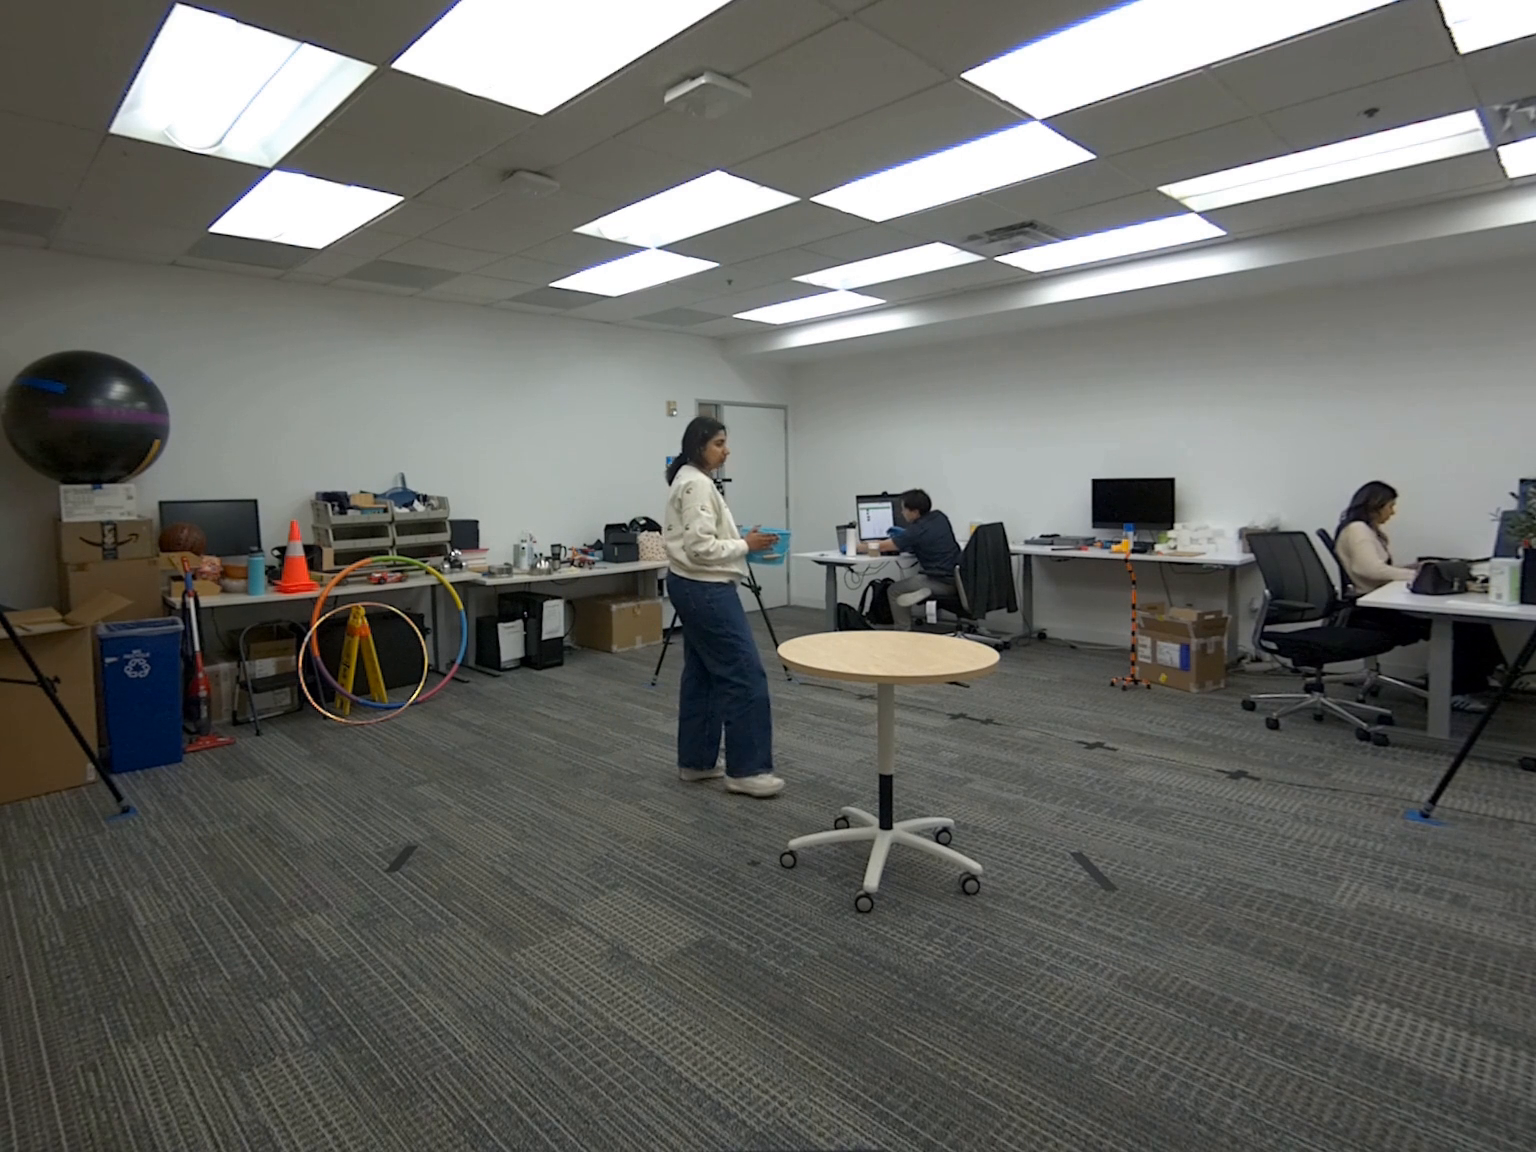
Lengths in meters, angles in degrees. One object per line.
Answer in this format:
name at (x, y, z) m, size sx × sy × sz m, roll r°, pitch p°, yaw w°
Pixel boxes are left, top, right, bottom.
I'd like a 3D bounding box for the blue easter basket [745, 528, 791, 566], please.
blue easter basket at (-0.017, -0.135, 3.956) m, size 0.243 × 0.155 × 0.245 m, roll 3°, pitch 6°, yaw -2°
